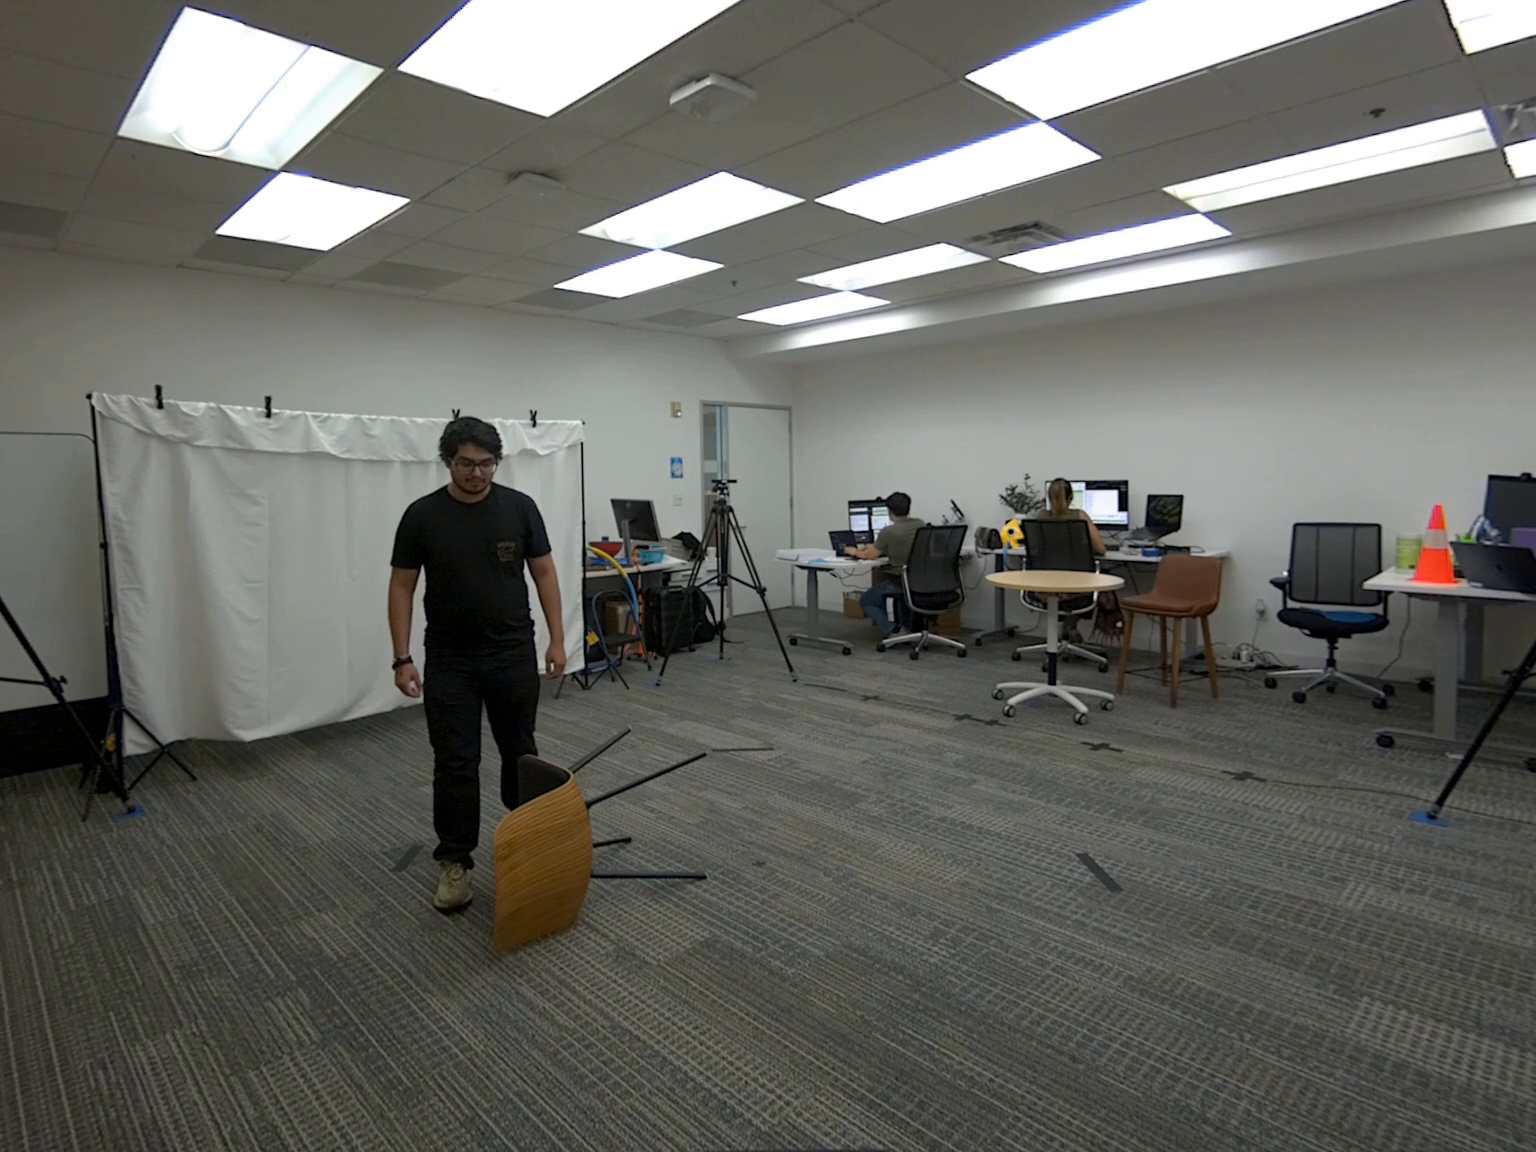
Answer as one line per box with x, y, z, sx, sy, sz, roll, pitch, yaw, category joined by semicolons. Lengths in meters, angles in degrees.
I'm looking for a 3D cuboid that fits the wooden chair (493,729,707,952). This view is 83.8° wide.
-0.676;0.858;2.862;0.539;0.476;0.855;4;8;40;wooden chair
